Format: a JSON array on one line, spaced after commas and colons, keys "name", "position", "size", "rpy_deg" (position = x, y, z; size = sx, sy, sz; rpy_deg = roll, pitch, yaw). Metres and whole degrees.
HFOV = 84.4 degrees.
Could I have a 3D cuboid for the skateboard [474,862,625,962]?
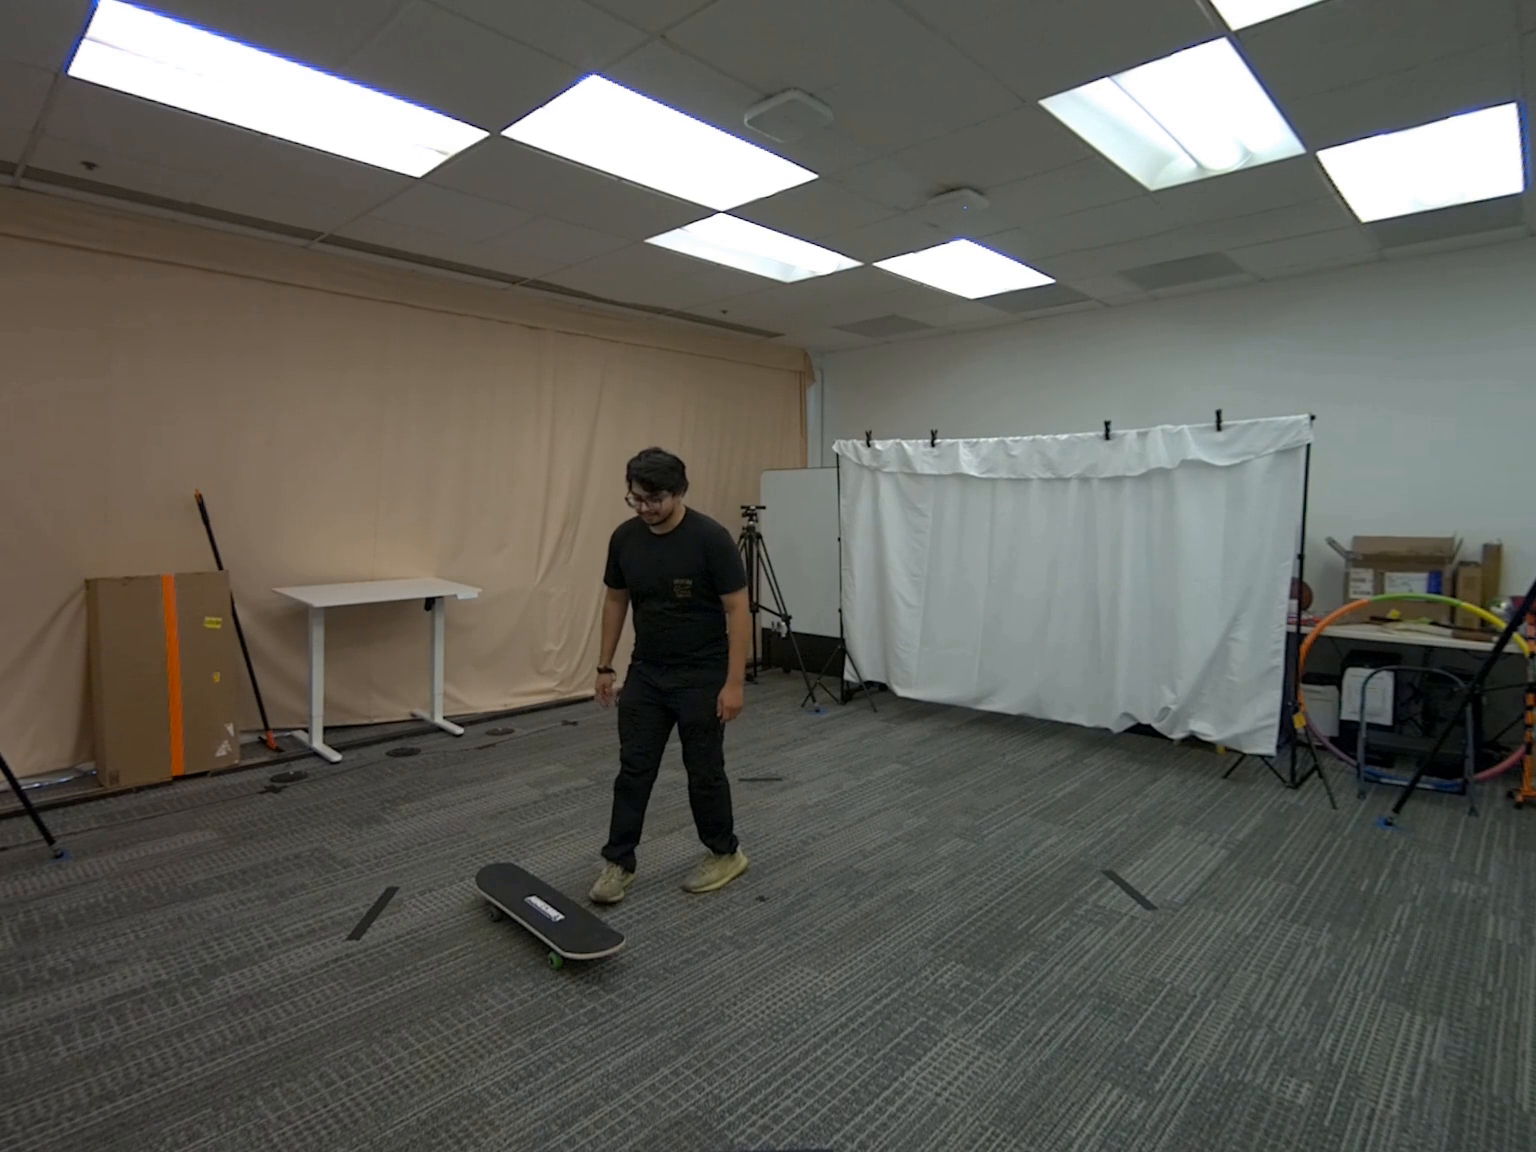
[{"name": "skateboard", "position": [-0.726, 1.115, 2.737], "size": [0.187, 0.110, 0.812], "rpy_deg": [-5, 6, -43]}]
